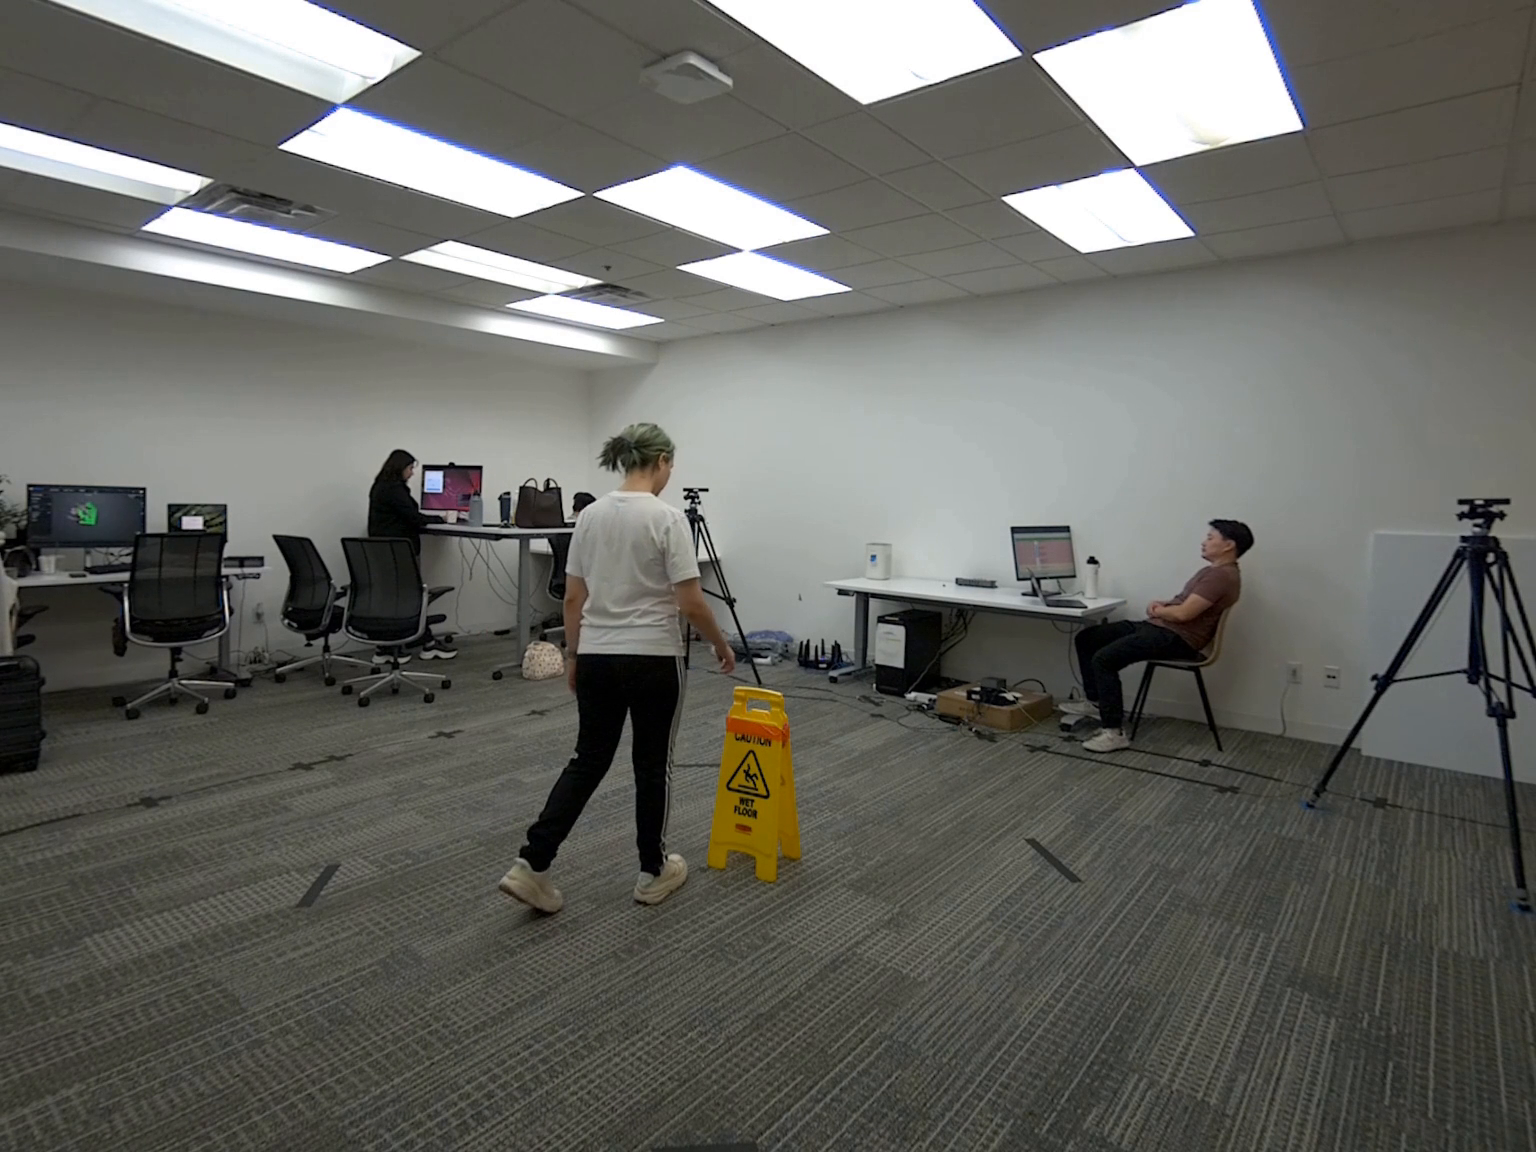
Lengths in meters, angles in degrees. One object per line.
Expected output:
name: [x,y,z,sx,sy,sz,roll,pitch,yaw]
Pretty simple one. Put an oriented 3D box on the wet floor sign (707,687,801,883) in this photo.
wet floor sign: [-0.053,0.740,3.166,0.290,0.645,0.282,3,3,28]
